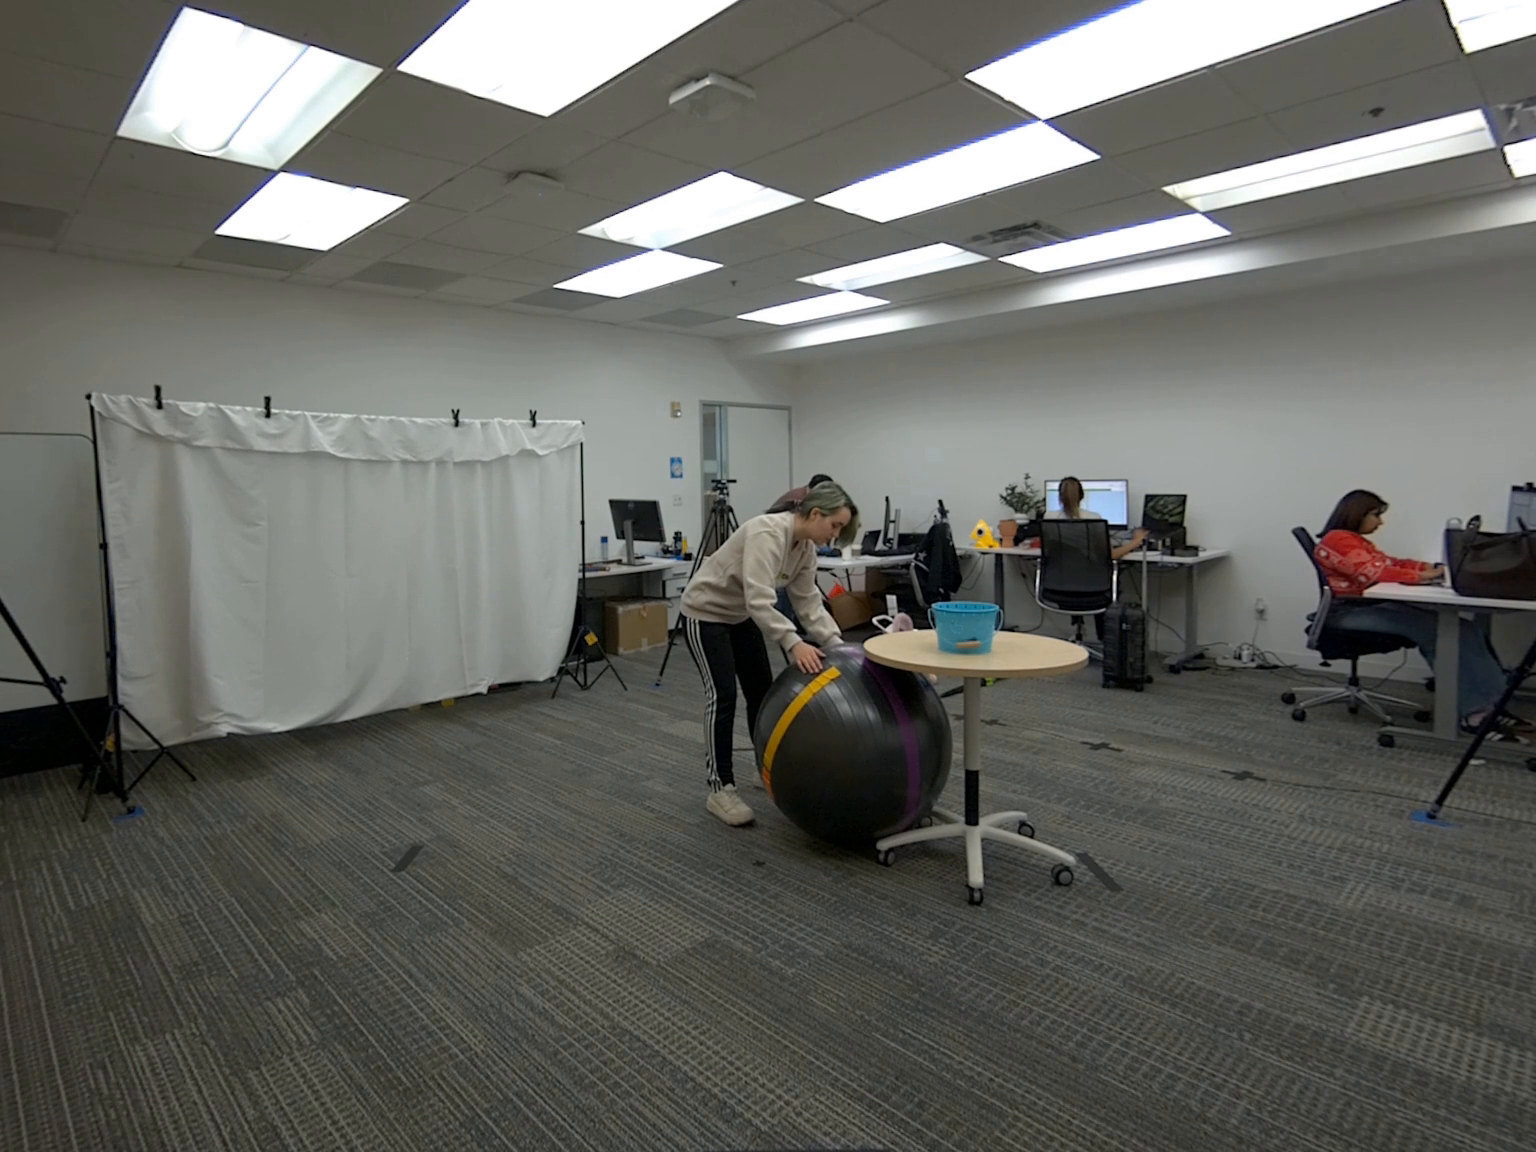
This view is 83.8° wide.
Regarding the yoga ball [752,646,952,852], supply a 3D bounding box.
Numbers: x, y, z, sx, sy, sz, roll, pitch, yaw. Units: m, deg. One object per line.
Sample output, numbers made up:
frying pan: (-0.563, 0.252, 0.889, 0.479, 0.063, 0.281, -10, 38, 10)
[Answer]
yoga ball: (0.318, 0.646, 3.310, 0.757, 0.755, 0.762, -1, 5, -2)
